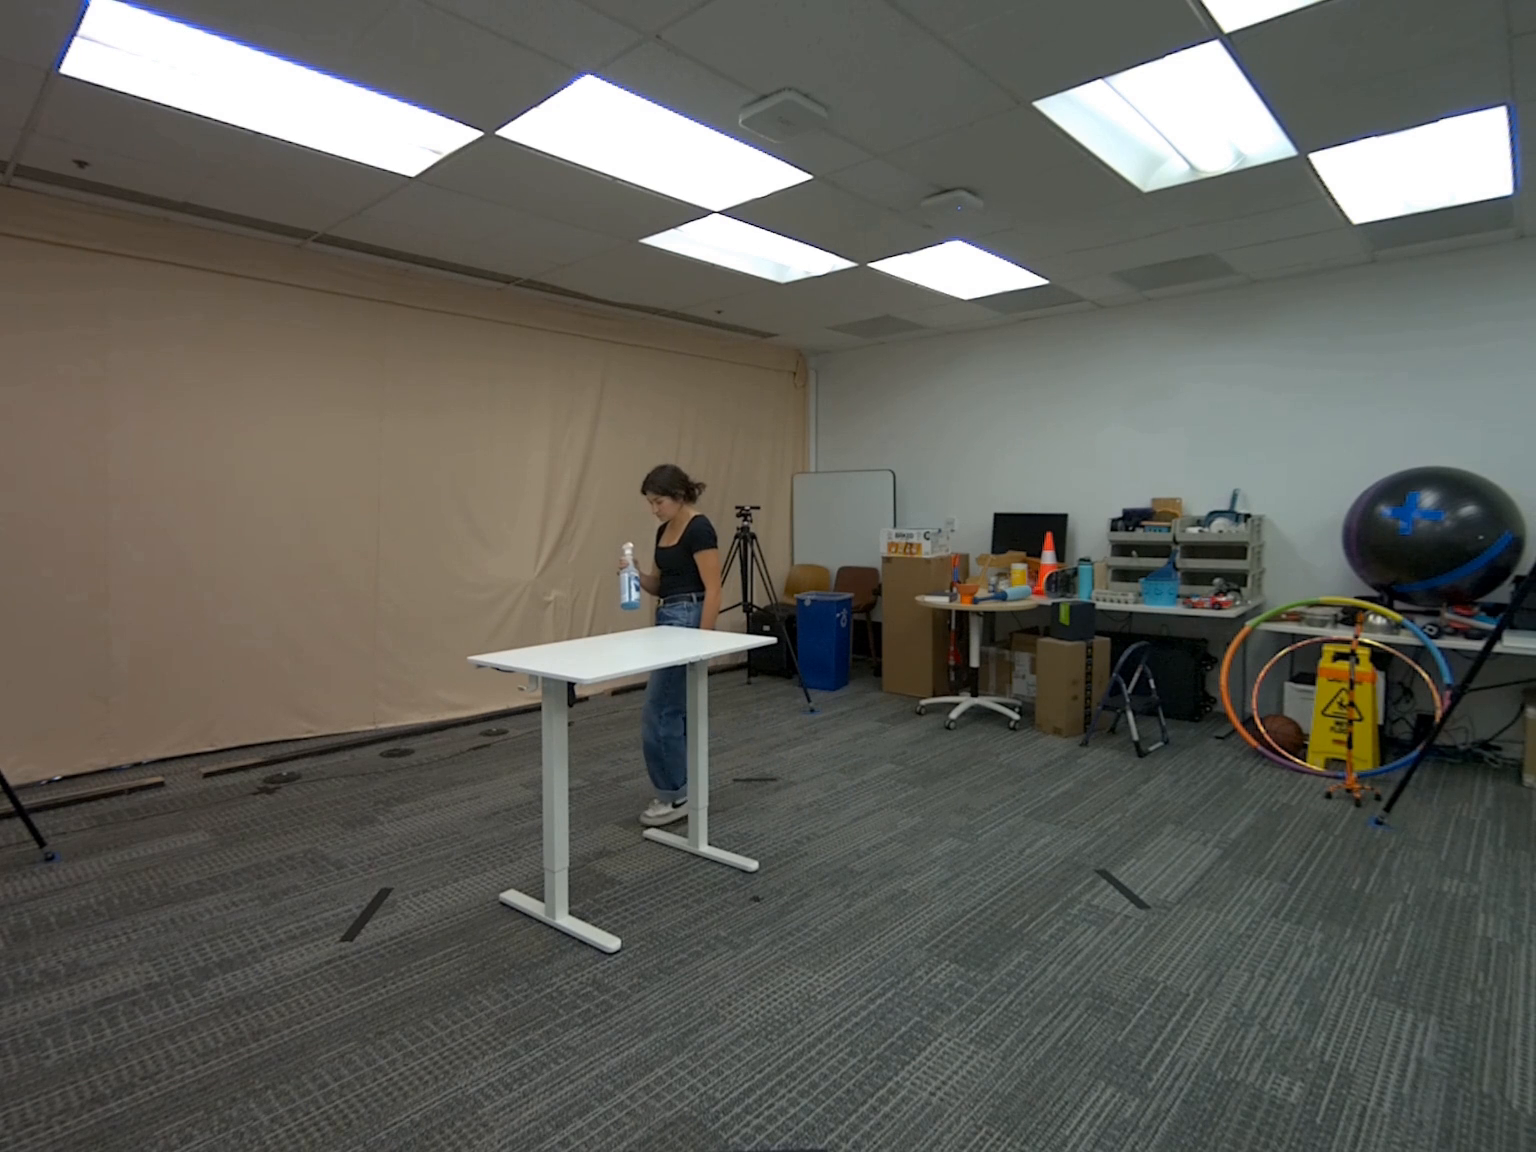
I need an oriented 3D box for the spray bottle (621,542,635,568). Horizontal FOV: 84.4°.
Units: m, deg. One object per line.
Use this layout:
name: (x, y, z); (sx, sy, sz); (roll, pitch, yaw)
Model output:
spray bottle: (-0.602, -0.007, 3.662); (0.086, 0.301, 0.089); (-1, -21, -9)
